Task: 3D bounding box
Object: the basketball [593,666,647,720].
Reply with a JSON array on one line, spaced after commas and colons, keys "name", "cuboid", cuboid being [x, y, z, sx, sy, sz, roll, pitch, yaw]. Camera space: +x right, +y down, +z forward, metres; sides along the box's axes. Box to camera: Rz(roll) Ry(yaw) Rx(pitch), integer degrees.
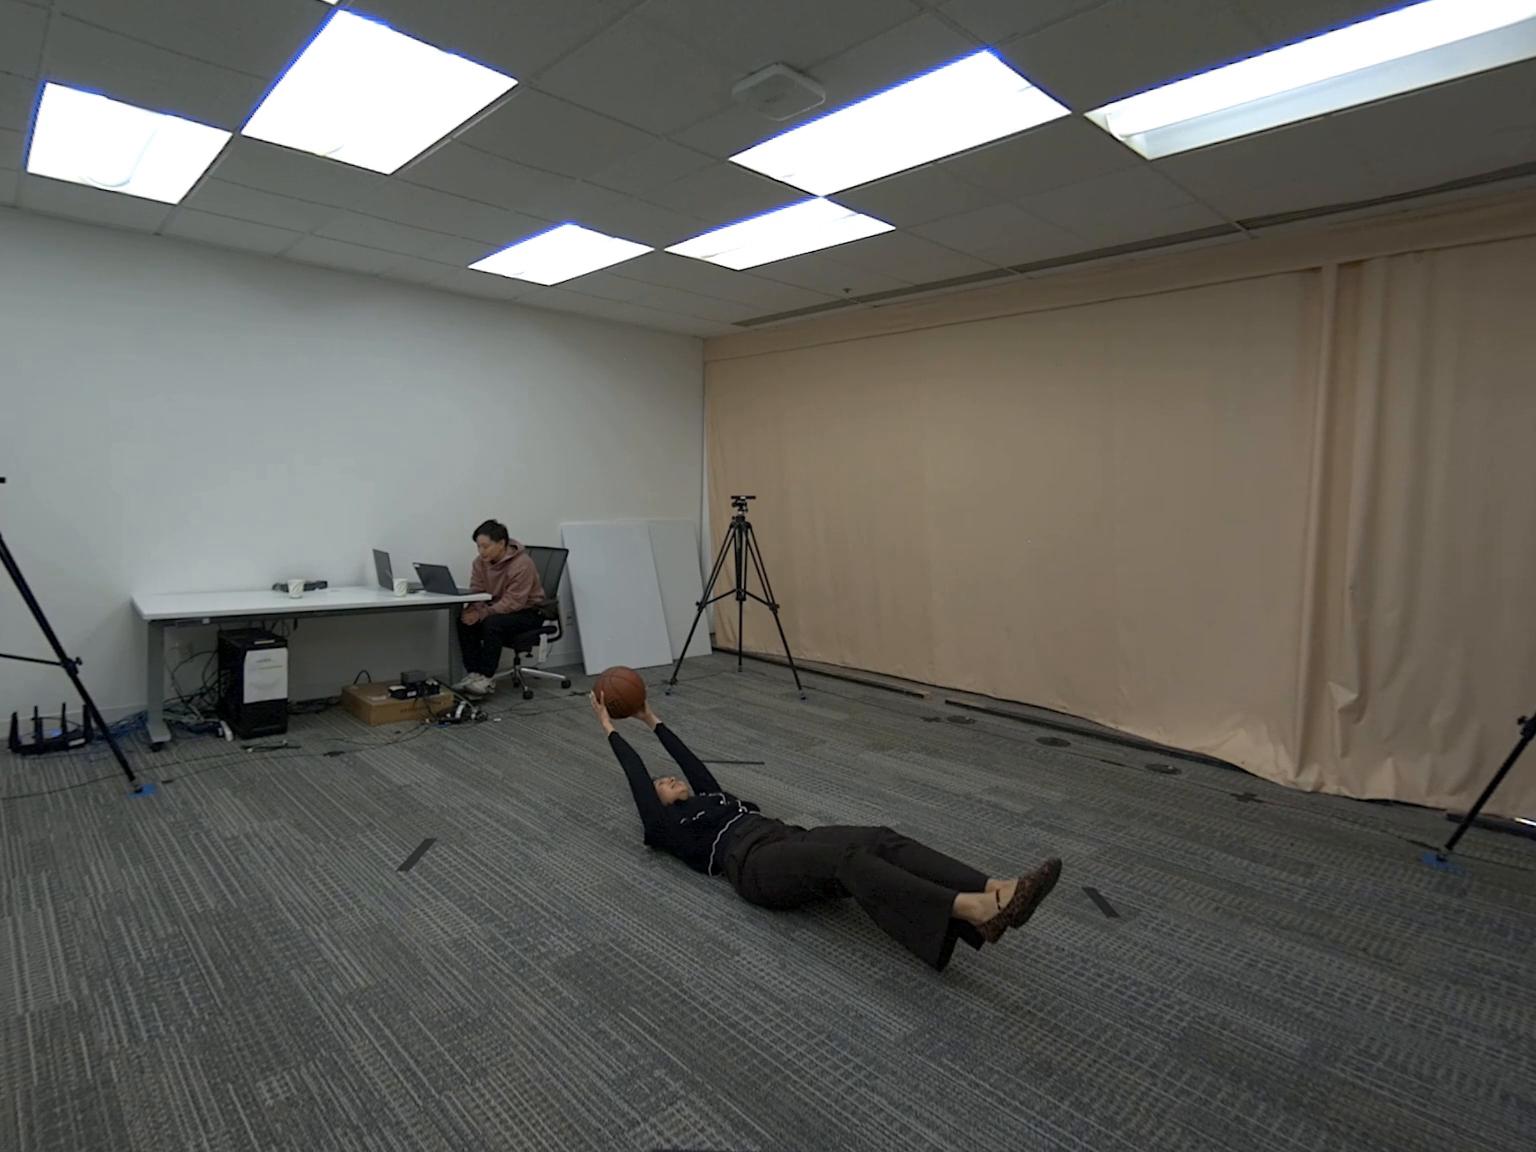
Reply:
[{"name": "basketball", "cuboid": [-0.680, 0.521, 3.777, 0.236, 0.235, 0.237, 1, 4, -1]}]
